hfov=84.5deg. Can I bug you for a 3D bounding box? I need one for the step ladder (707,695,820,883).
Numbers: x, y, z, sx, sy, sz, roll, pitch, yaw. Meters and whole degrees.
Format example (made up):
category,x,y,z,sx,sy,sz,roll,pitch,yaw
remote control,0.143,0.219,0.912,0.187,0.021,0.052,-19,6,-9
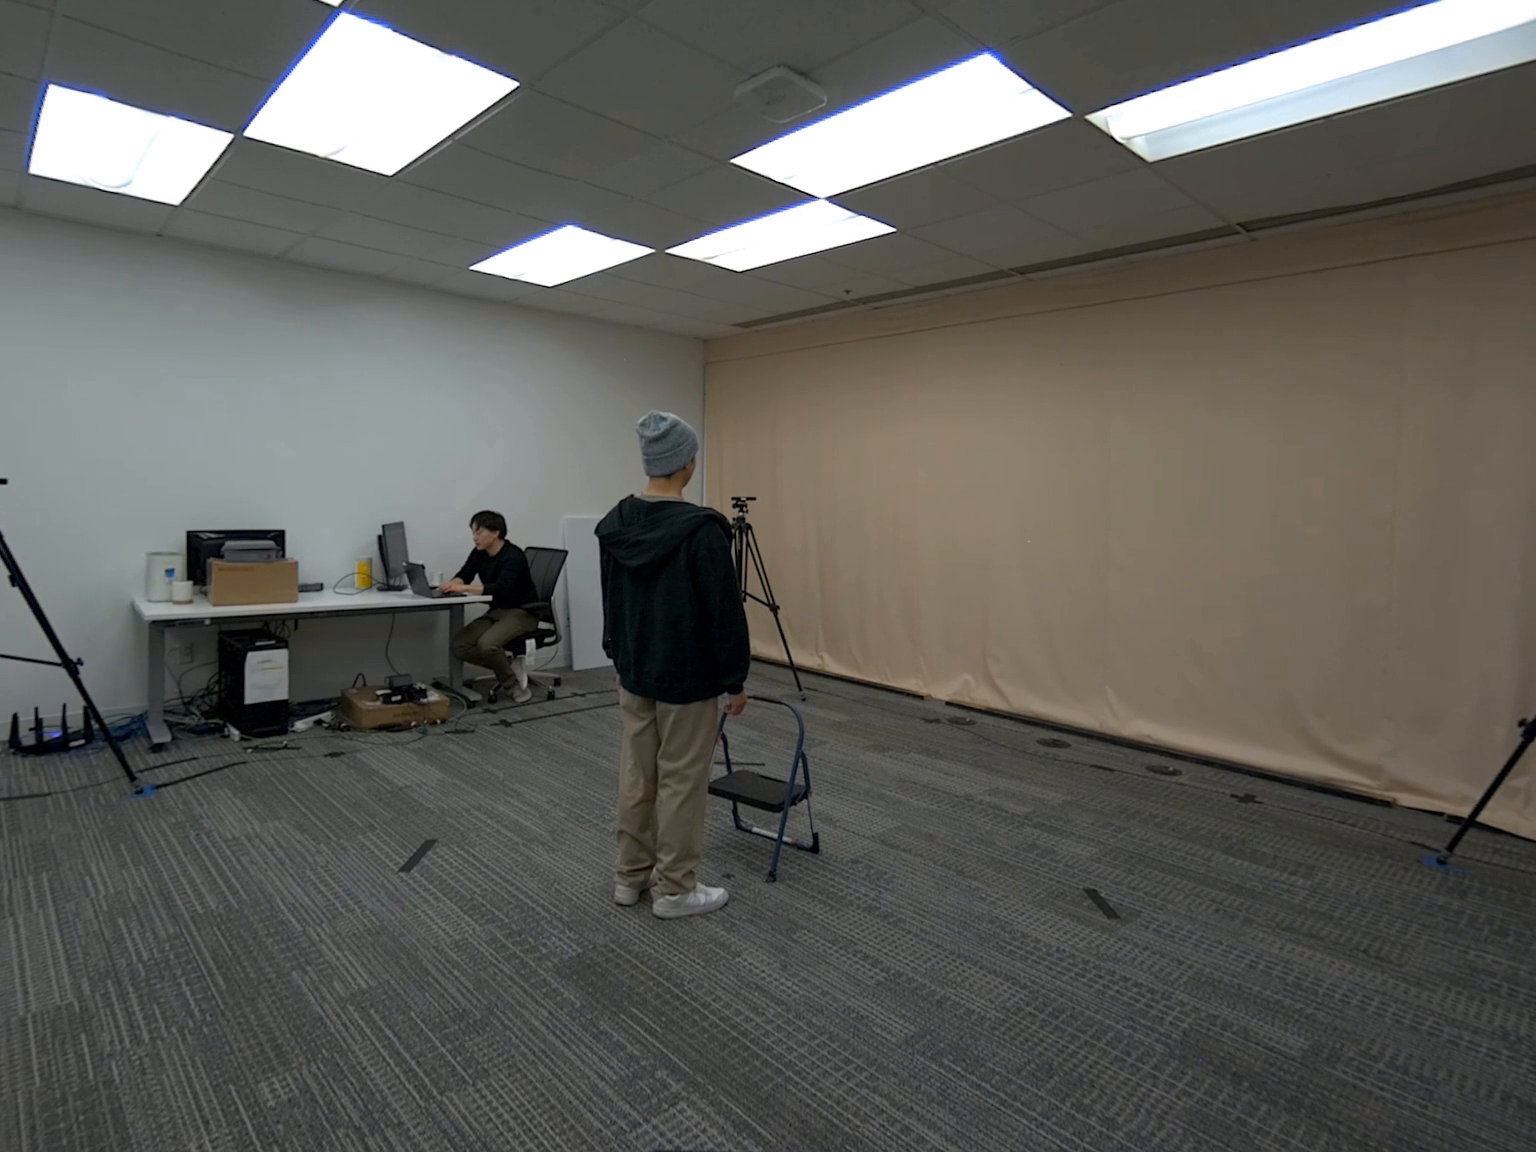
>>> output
category,x,y,z,sx,sy,sz,roll,pitch,yaw
step ladder,-0.054,0.789,3.306,0.441,0.604,0.342,4,4,36
